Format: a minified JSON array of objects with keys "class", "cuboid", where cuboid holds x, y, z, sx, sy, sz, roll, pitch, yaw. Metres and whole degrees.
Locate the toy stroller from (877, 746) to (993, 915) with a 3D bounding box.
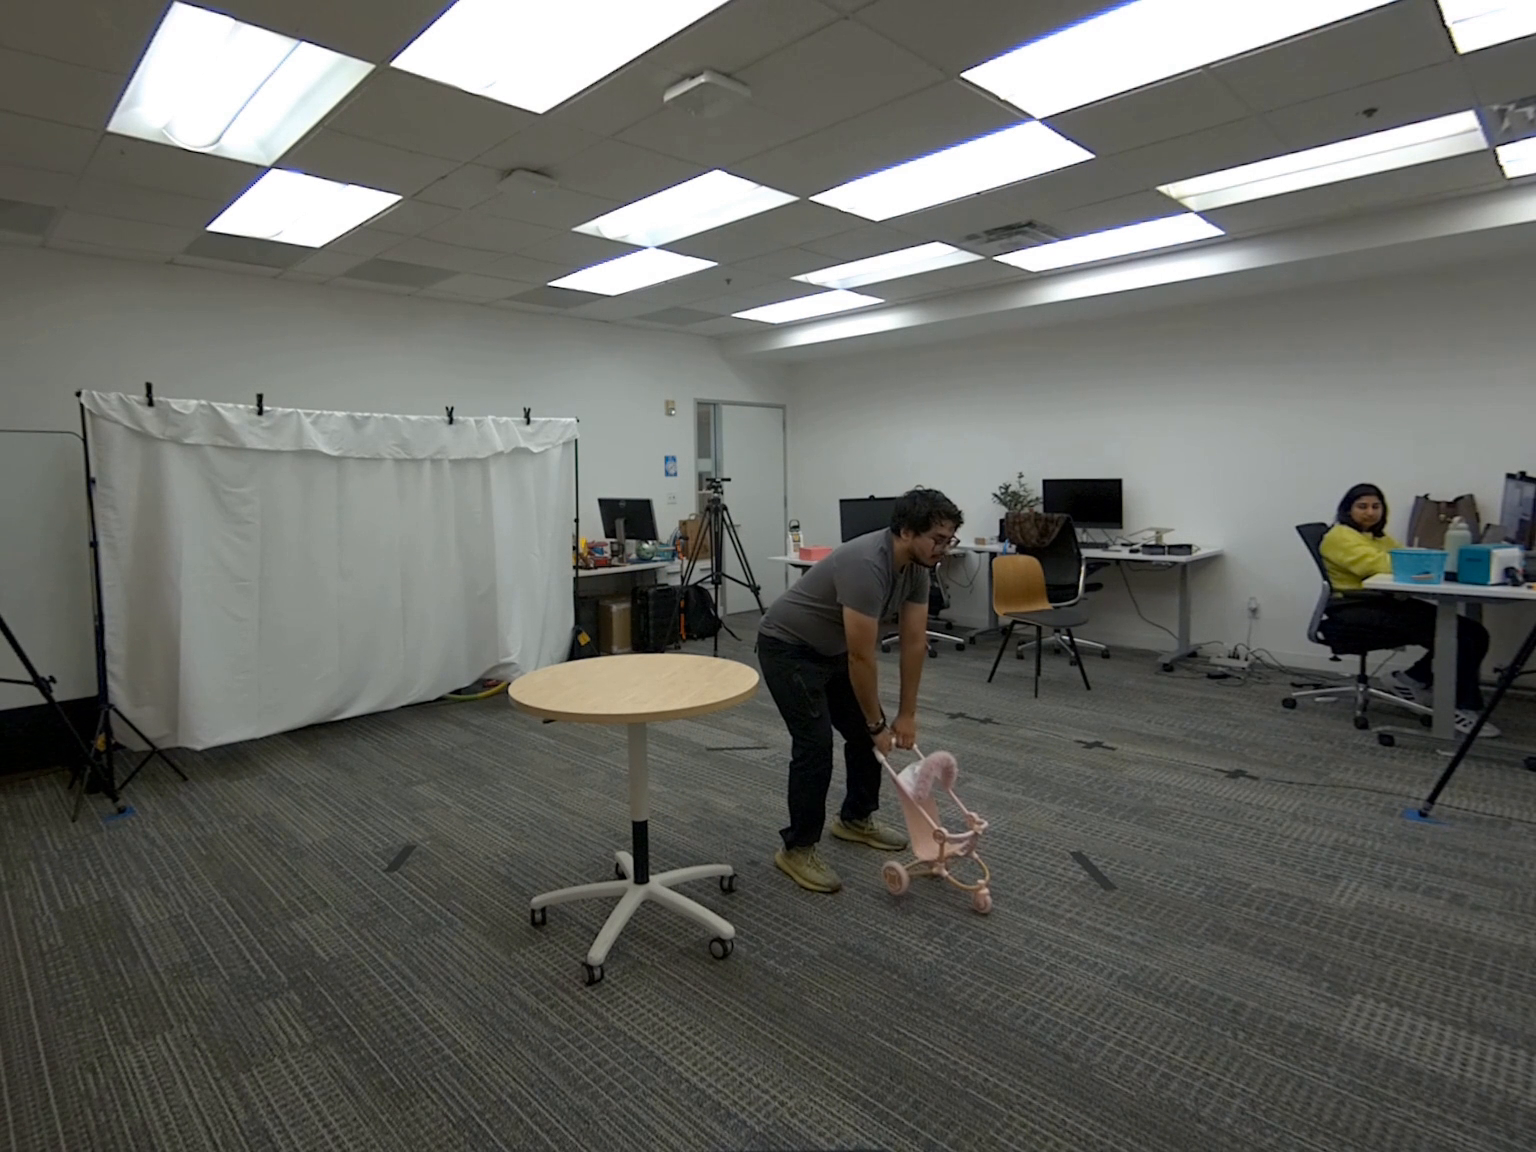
[{"class":"toy stroller","cuboid":[0.564,0.826,2.839,0.274,0.538,0.349,-1,-7,-40]}]
